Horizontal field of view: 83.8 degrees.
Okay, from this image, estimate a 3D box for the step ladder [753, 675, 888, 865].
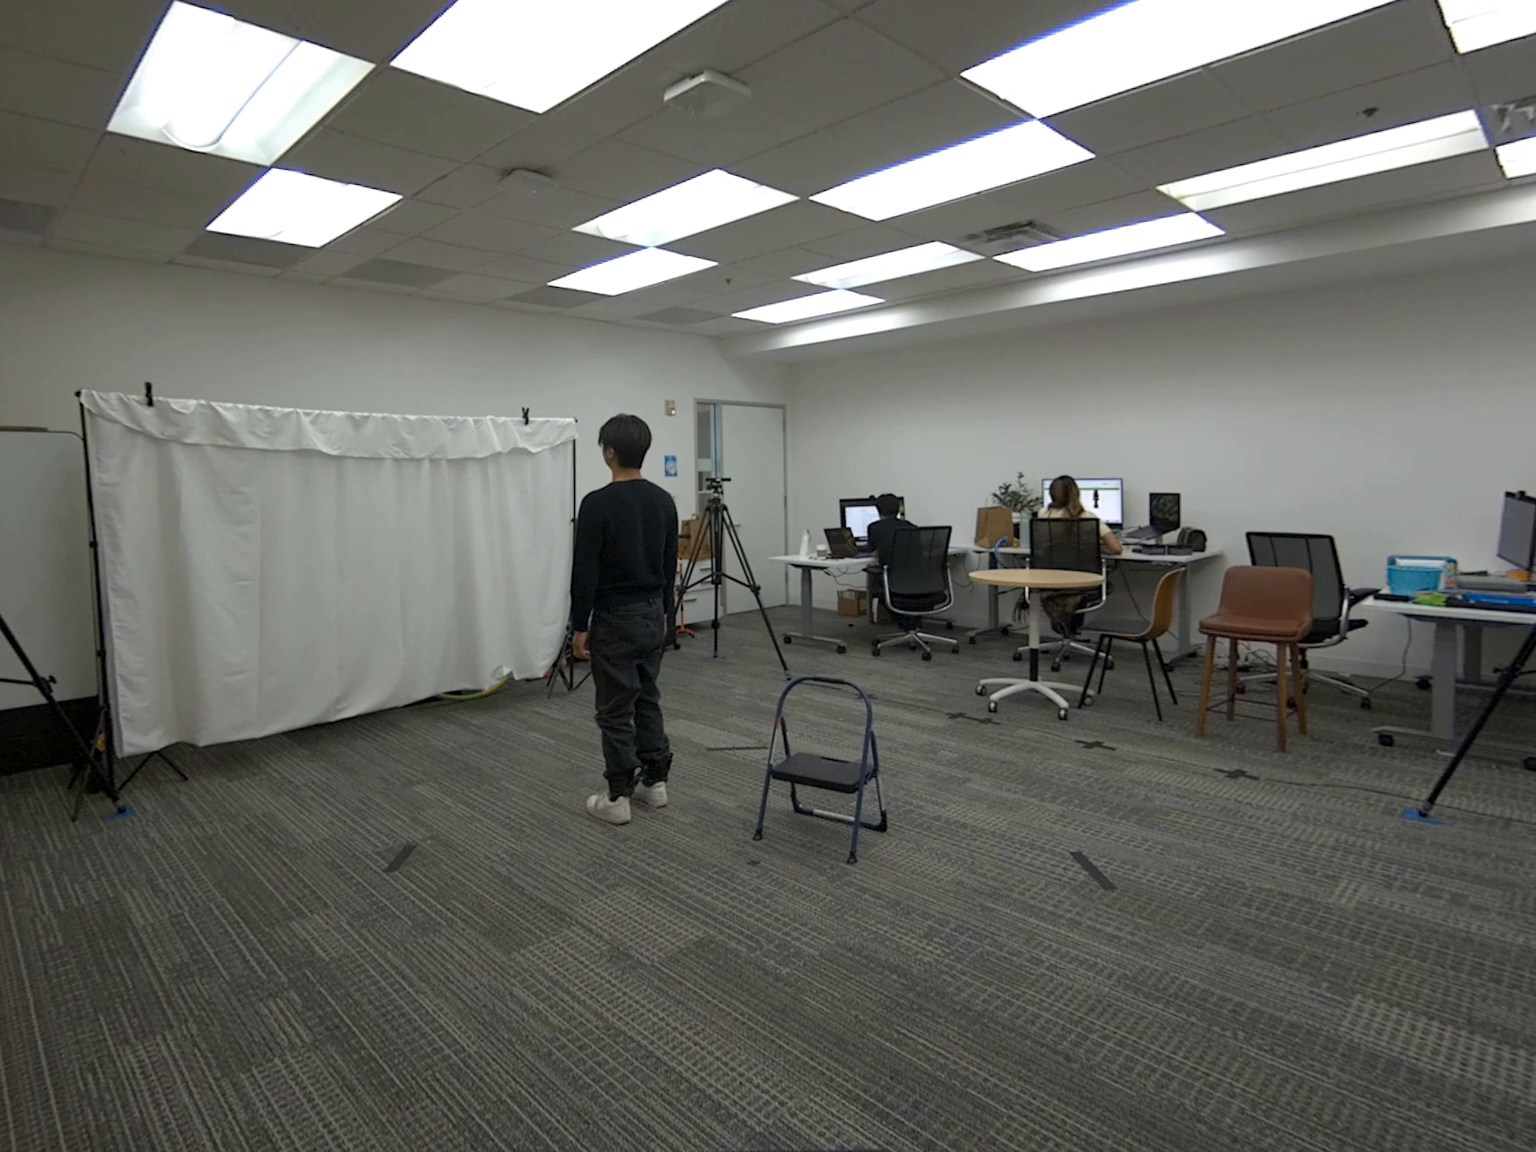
[{"bbox_3d":[0.209,0.708,3.319,0.442,0.603,0.341,2,6,31],"label":"step ladder"}]
